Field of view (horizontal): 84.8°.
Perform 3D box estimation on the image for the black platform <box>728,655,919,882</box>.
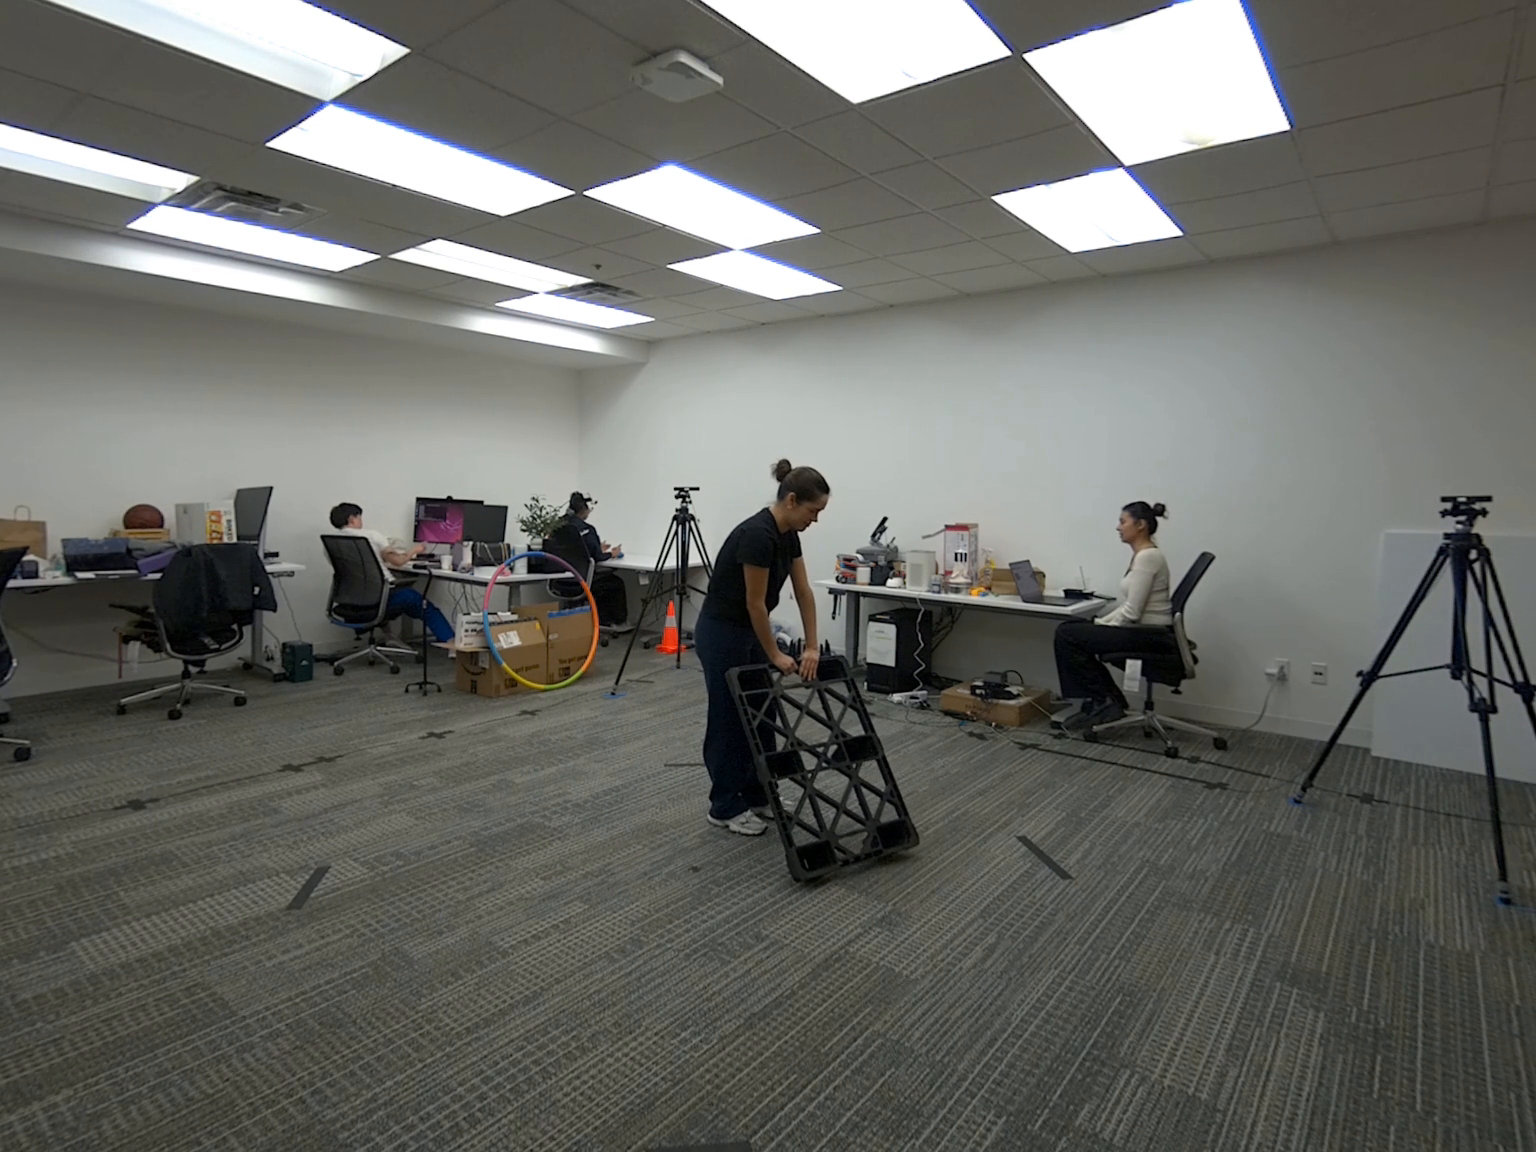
[{"bbox_3d":[0.205,0.715,3.310,0.588,0.830,0.143,-2,-31,-33],"label":"black platform"}]
